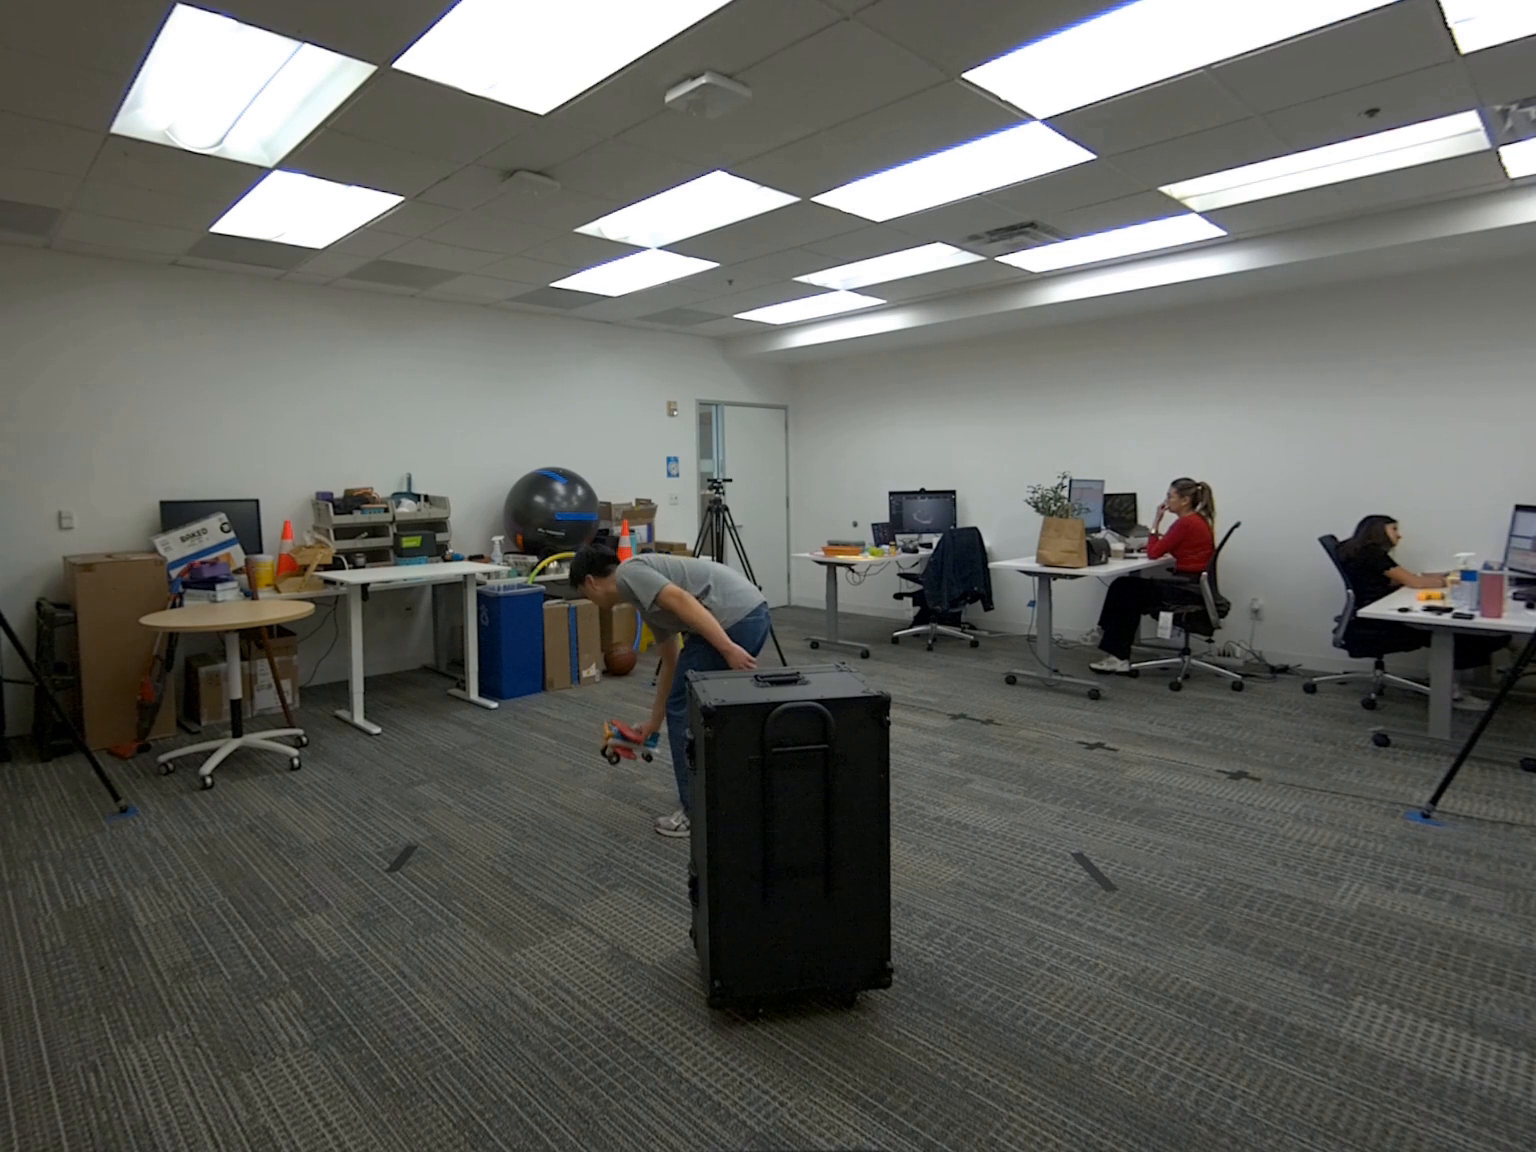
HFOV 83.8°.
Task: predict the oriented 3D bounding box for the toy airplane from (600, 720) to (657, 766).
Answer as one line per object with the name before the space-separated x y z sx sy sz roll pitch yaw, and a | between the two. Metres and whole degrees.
toy airplane | -0.611 0.724 3.715 0.259 0.155 0.253 8 8 32
